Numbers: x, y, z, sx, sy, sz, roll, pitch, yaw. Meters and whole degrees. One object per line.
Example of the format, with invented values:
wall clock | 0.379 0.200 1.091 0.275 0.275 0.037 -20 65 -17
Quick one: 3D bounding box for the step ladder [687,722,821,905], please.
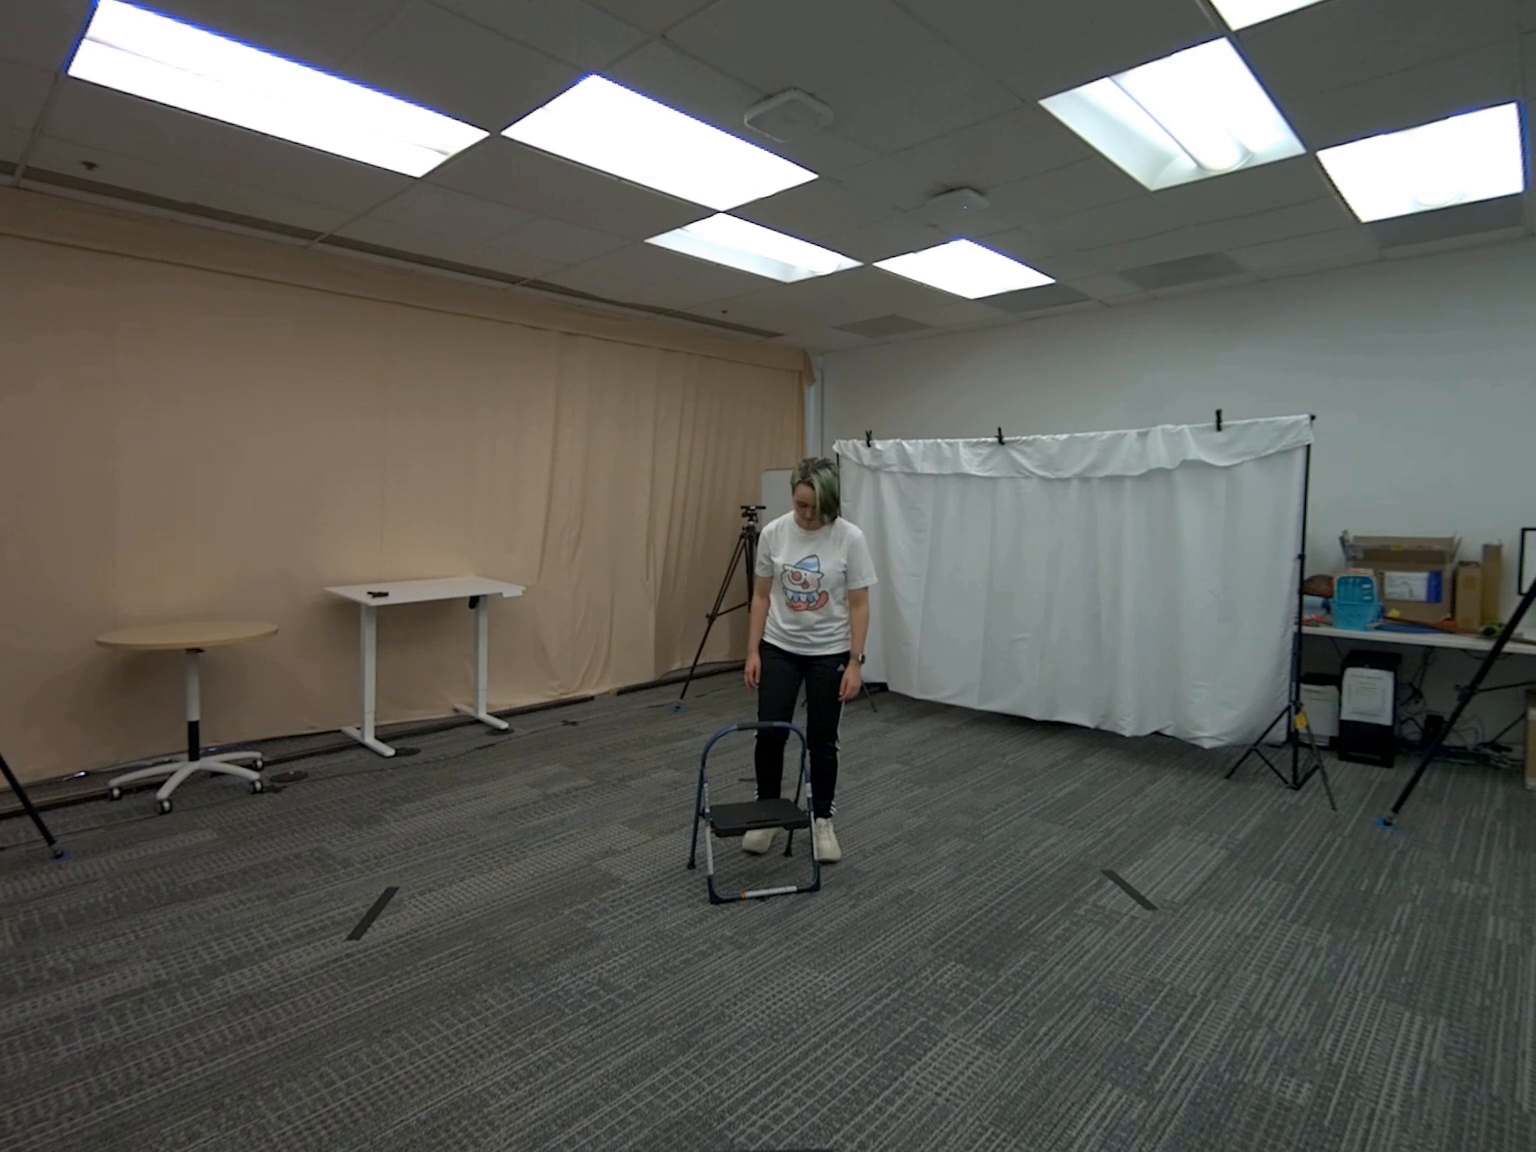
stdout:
step ladder | -0.059 0.828 3.136 0.423 0.605 0.356 -2 4 -17
